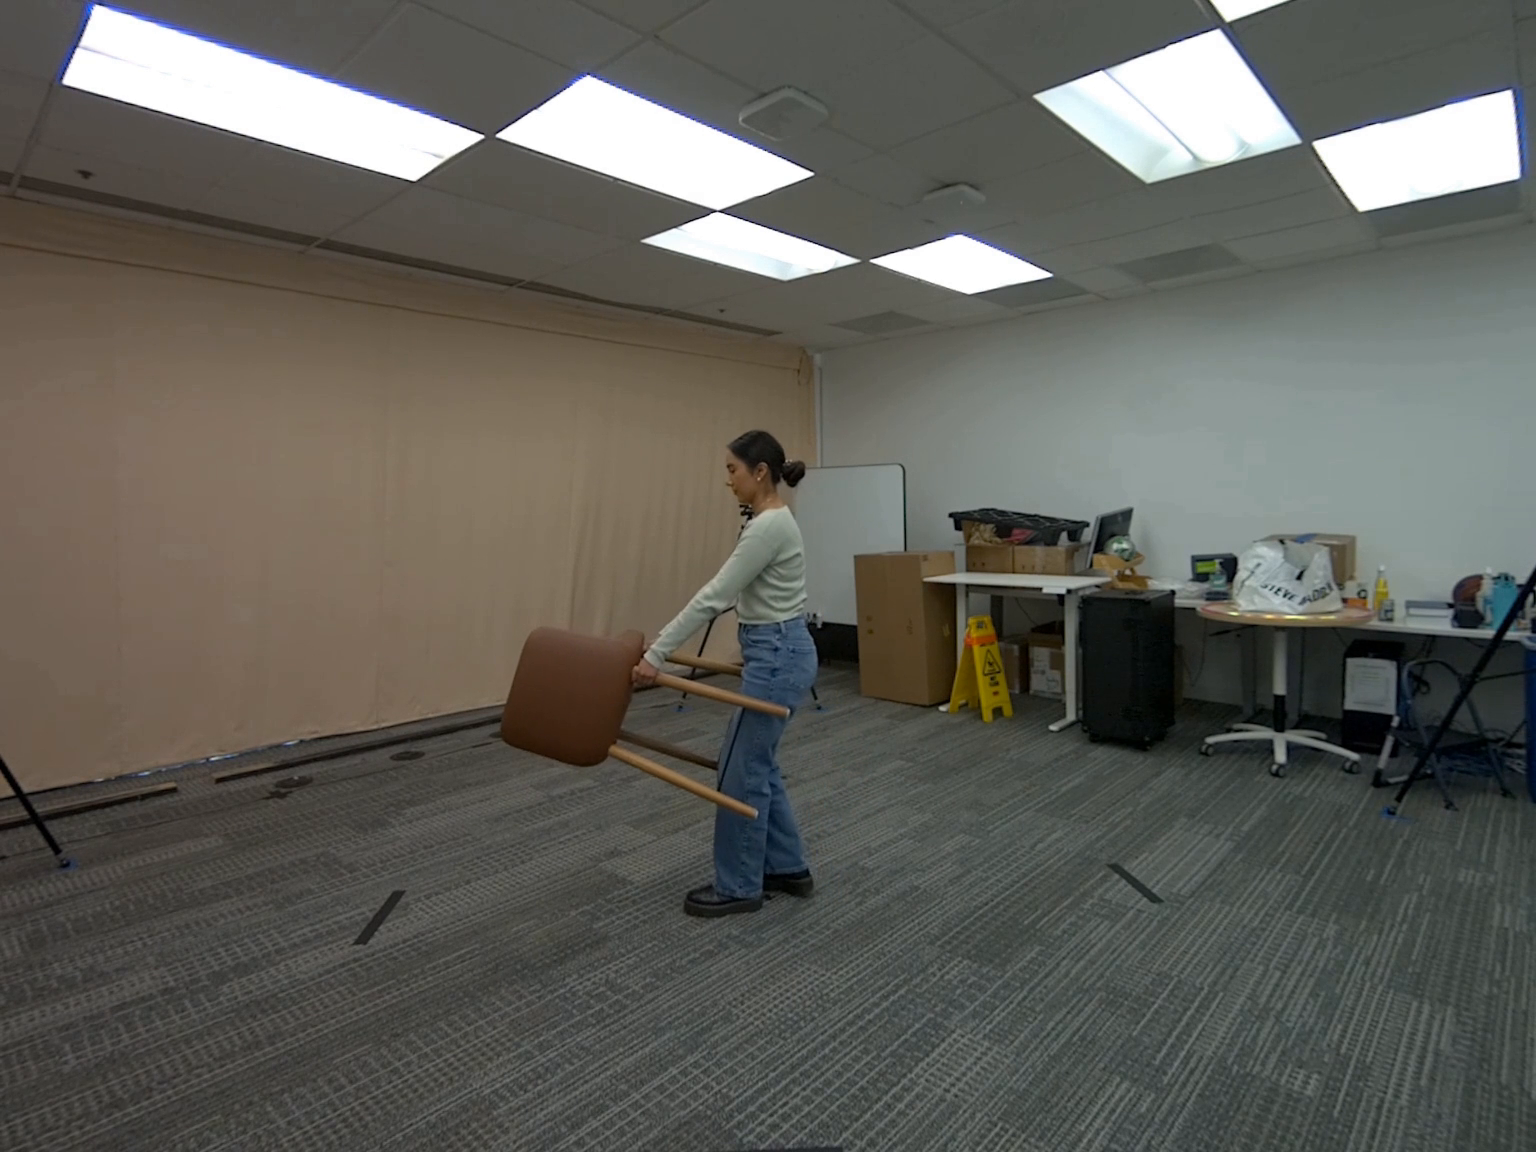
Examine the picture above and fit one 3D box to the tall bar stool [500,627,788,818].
[{"bbox_3d":[-0.405,0.467,2.916,0.889,0.456,0.468,17,4,-1],"label":"tall bar stool"}]
